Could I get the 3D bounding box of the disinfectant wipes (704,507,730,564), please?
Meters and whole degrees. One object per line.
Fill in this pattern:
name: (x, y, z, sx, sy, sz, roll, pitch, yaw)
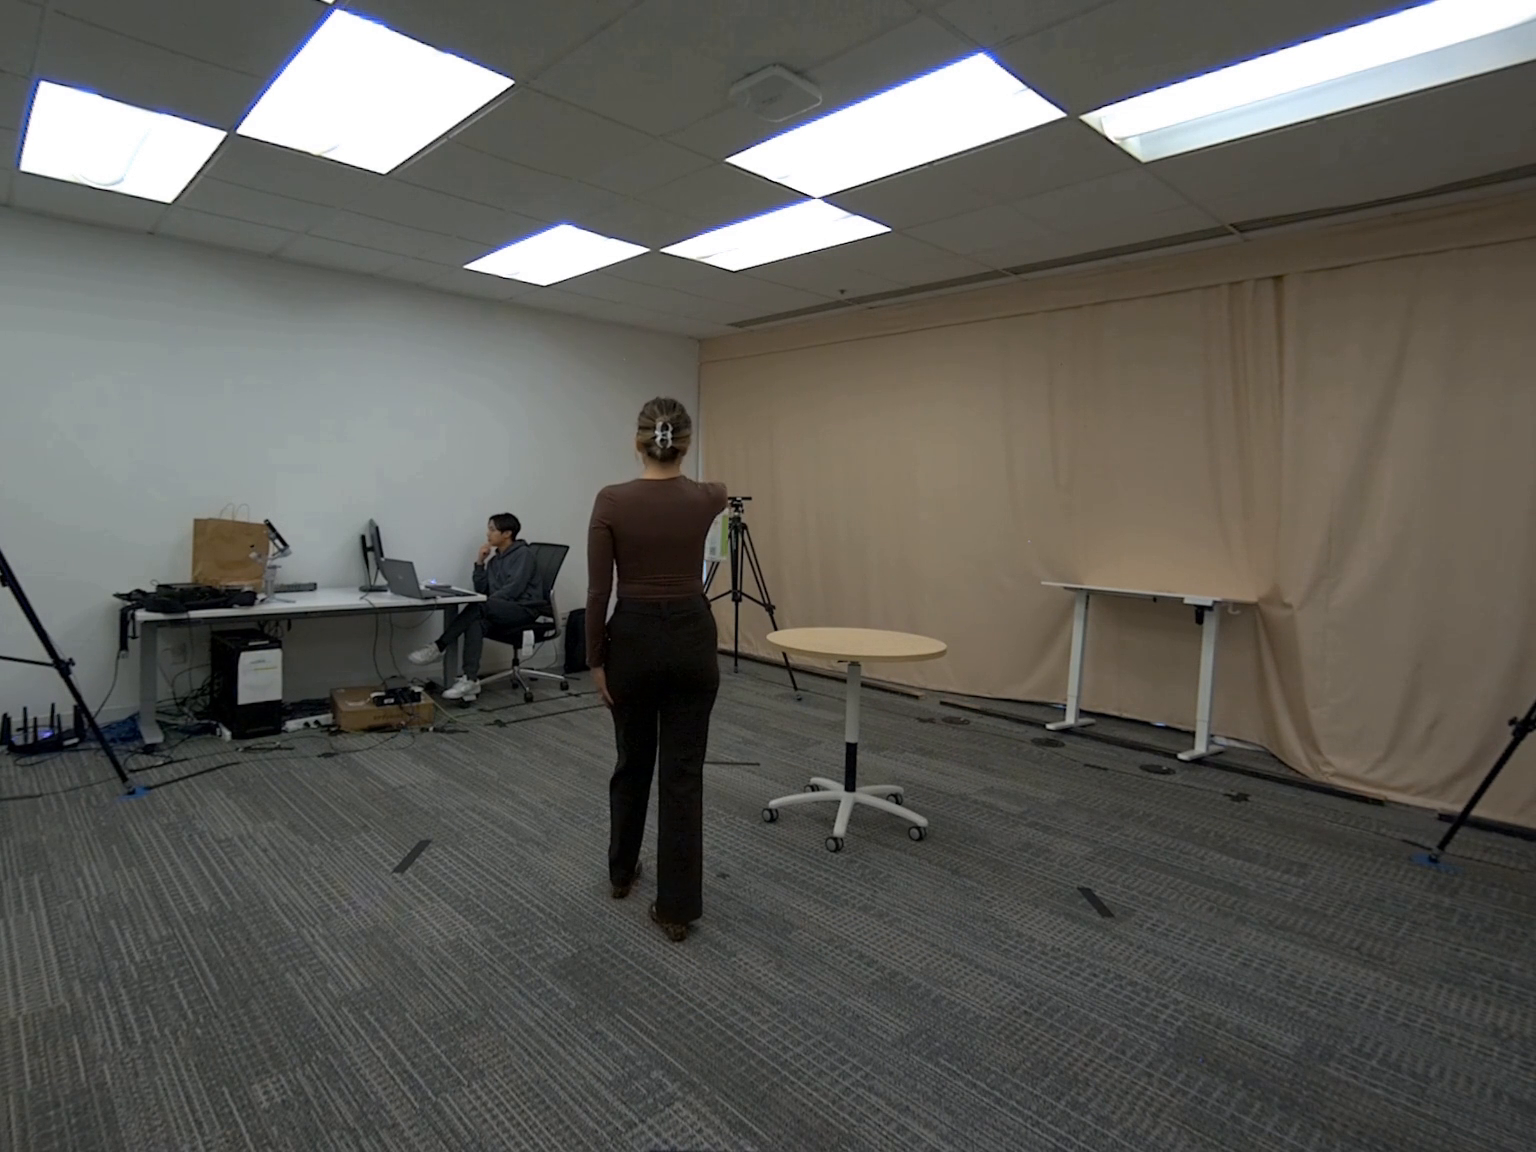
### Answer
disinfectant wipes: (-0.219, -0.166, 3.365, 0.118, 0.217, 0.118, 2, 1, -1)
